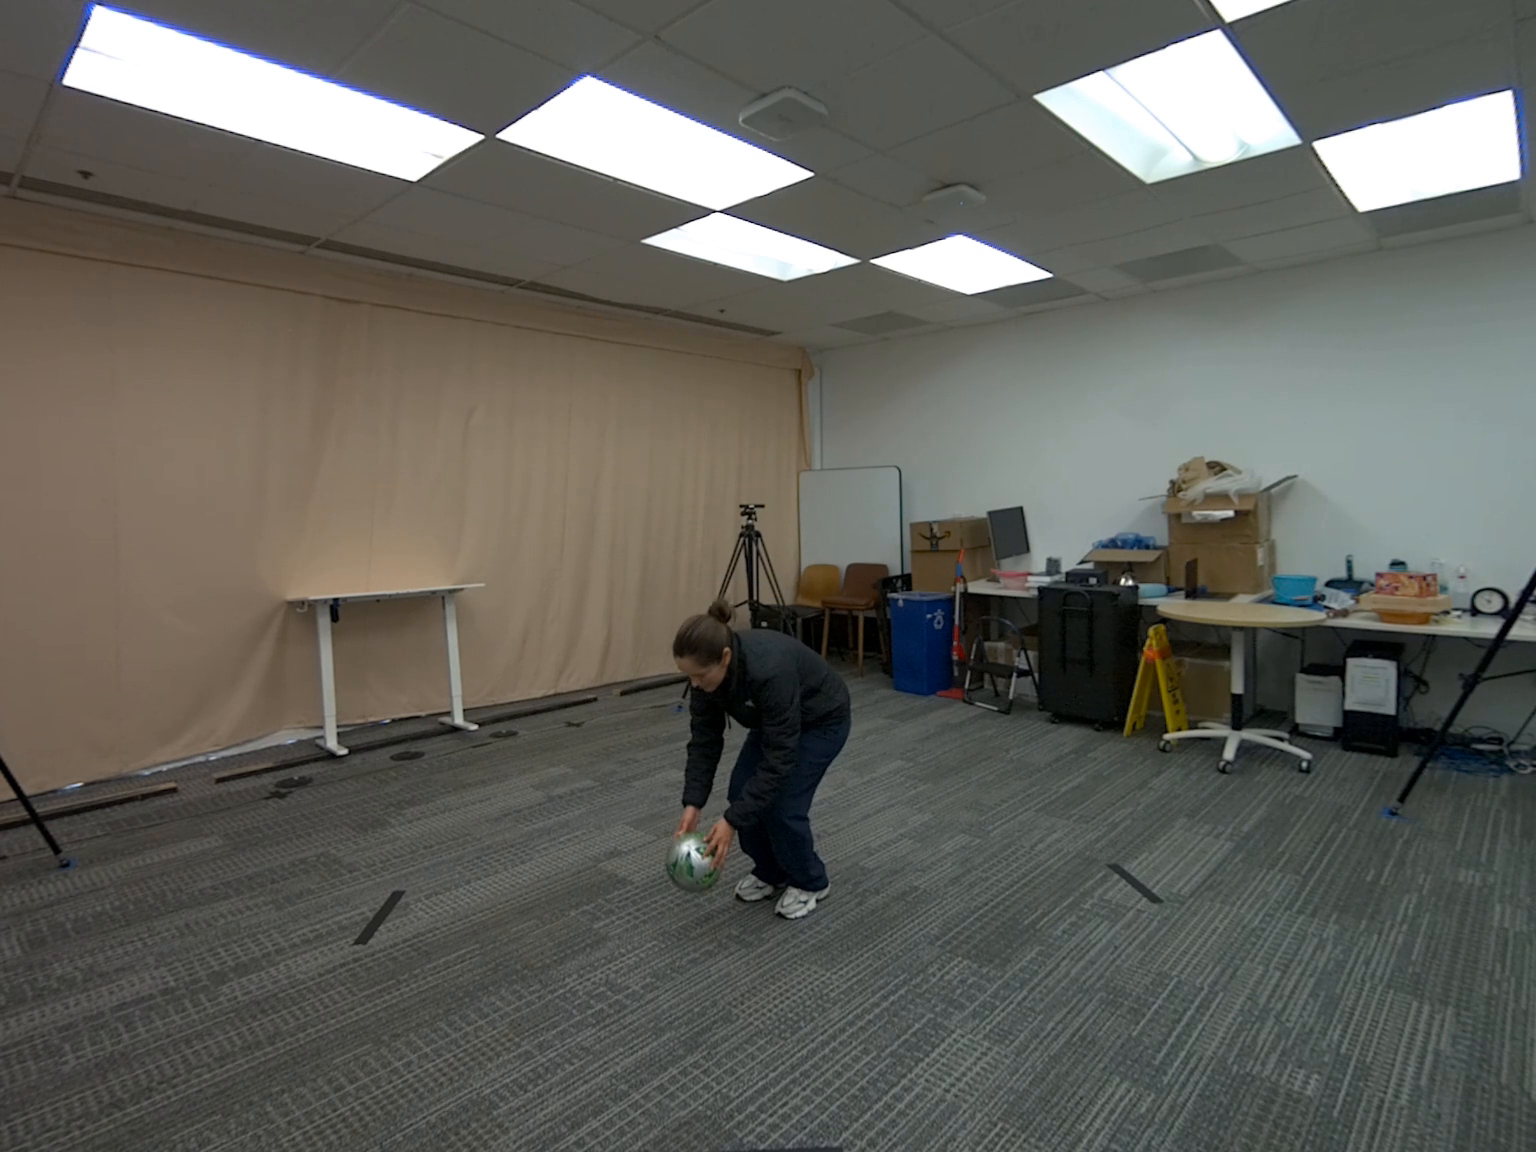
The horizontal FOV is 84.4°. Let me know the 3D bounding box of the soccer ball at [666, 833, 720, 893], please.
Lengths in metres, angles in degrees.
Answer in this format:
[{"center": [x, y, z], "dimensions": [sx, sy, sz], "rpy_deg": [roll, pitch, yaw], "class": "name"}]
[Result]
[{"center": [-0.239, 0.905, 2.697], "dimensions": [0.187, 0.187, 0.188], "rpy_deg": [-1, 4, -2], "class": "soccer ball"}]
